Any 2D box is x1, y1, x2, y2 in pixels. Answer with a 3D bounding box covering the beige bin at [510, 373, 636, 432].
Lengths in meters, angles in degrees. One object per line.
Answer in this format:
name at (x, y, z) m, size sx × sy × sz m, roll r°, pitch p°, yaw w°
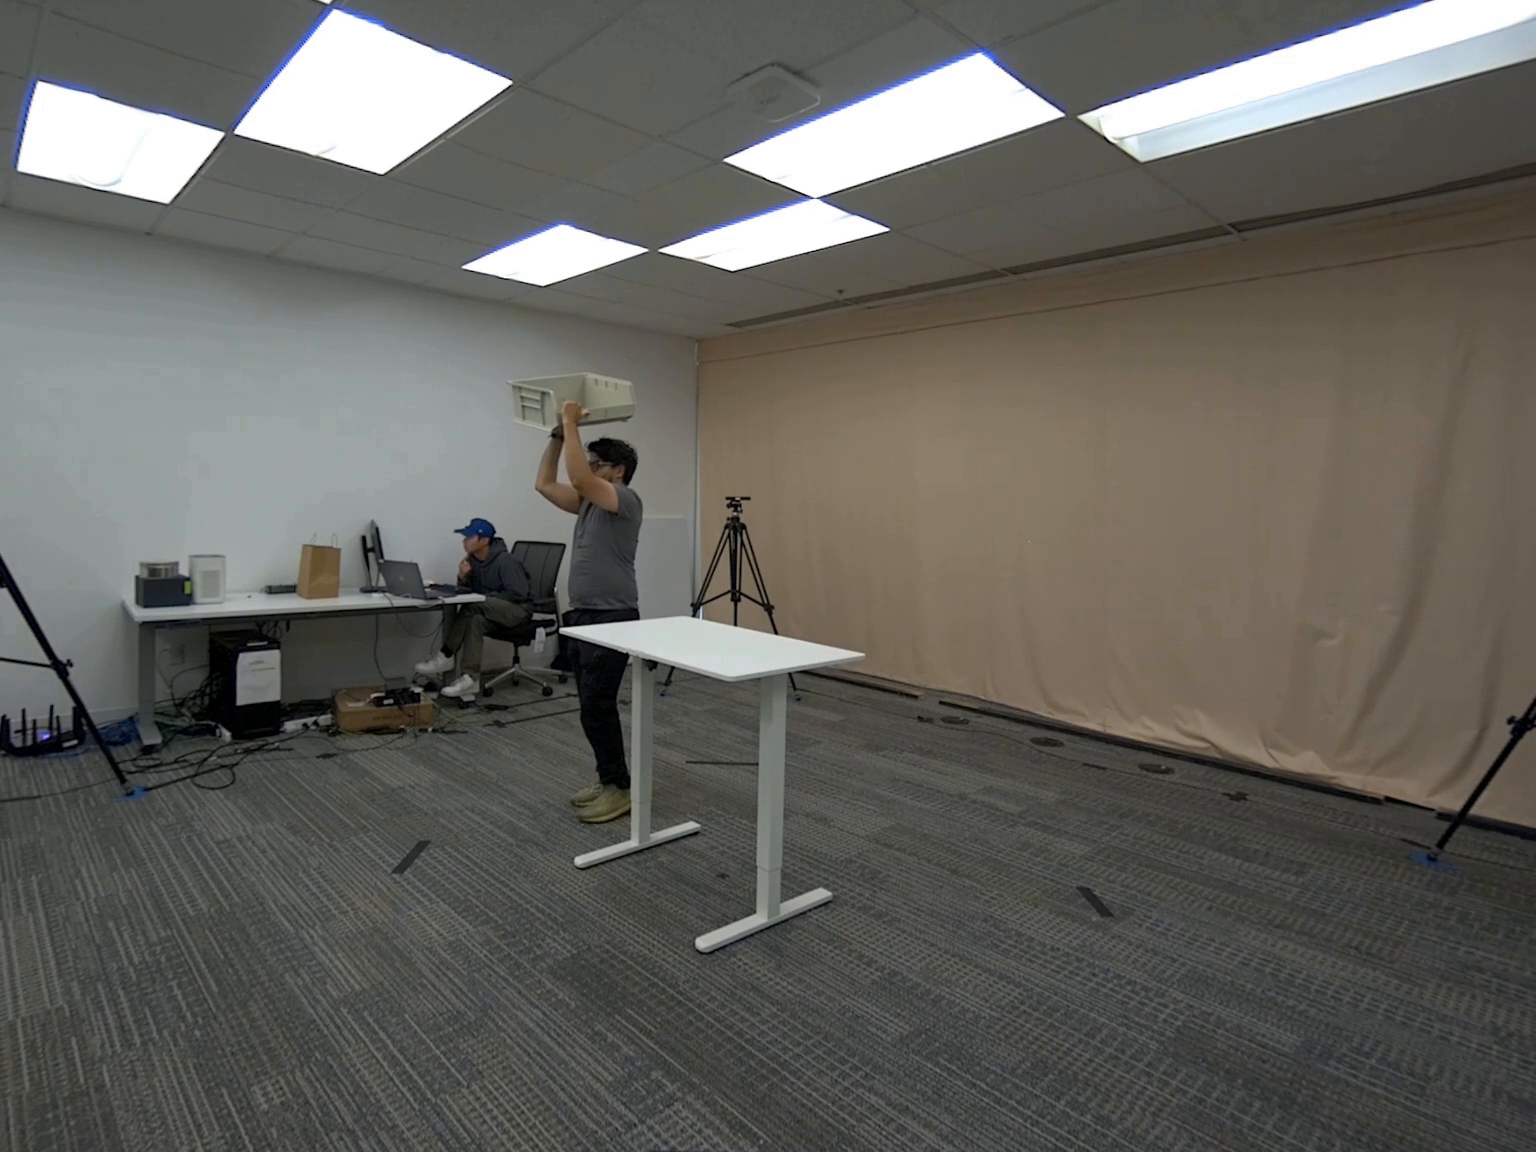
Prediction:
beige bin at (-0.876, -0.775, 3.741) m, size 0.416 × 0.186 × 0.388 m, roll -19°, pitch 28°, yaw -41°
